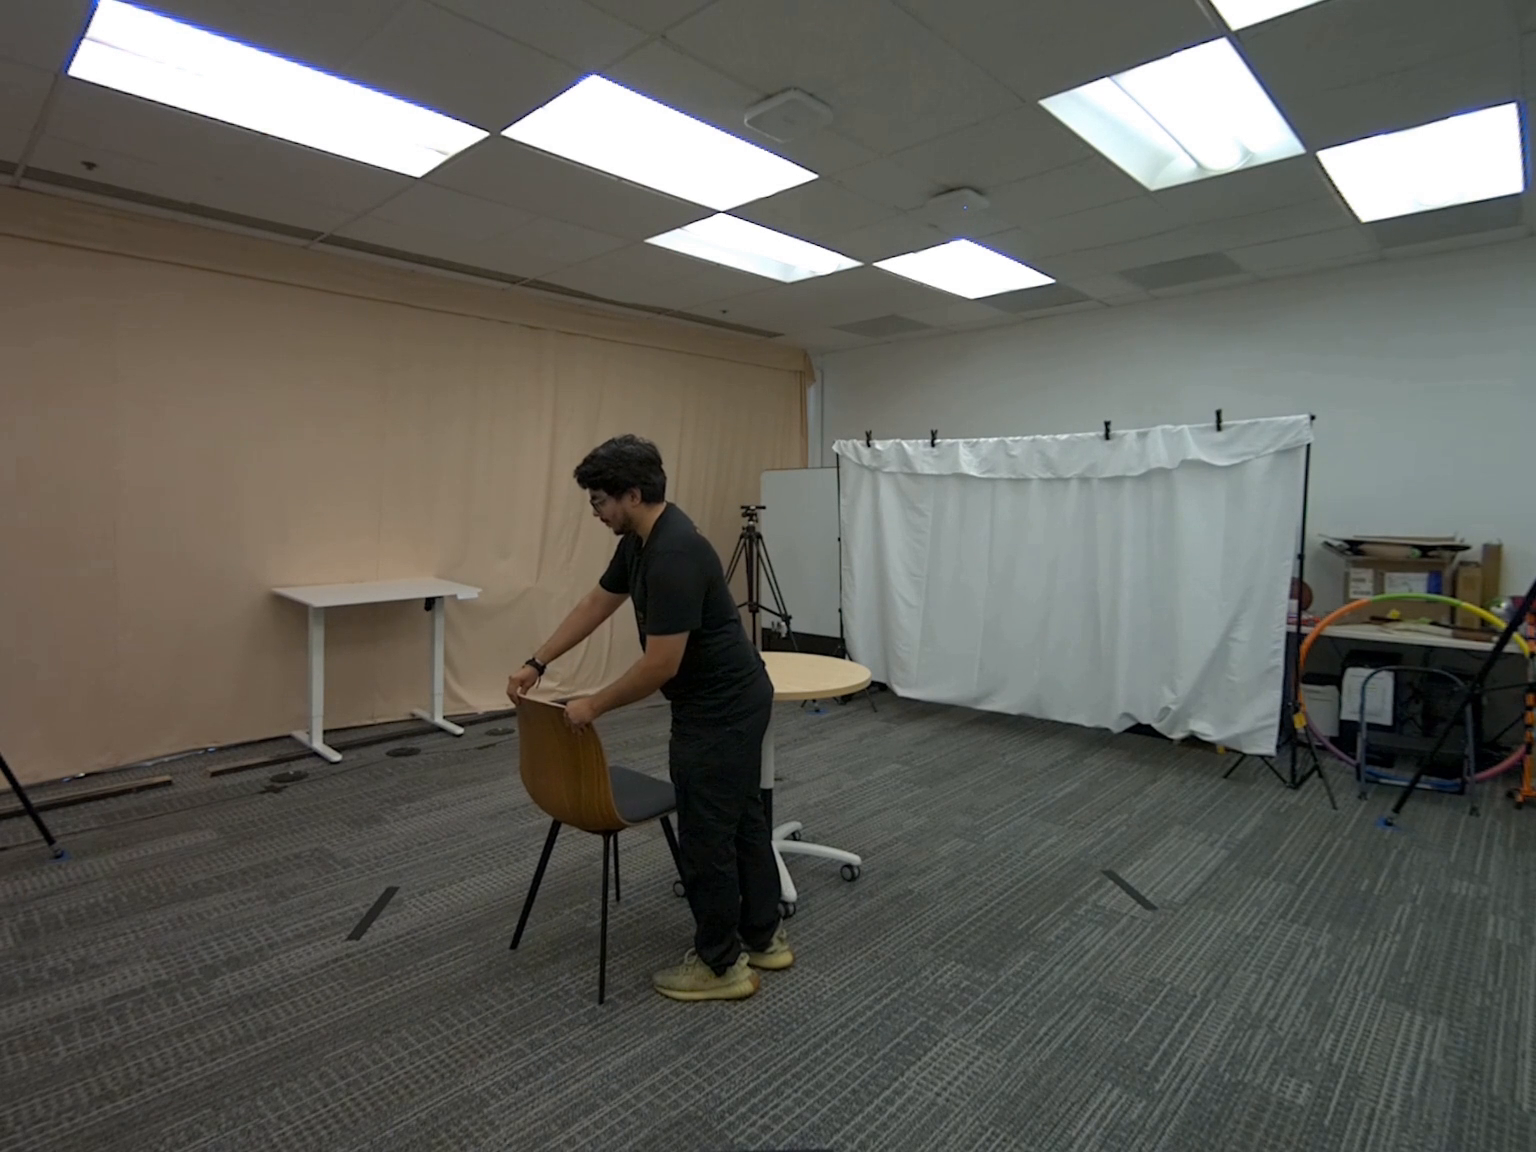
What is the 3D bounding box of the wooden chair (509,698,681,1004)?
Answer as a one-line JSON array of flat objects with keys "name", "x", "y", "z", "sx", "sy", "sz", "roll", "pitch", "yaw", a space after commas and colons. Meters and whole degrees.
[{"name": "wooden chair", "x": -0.500, "y": 0.746, "z": 2.644, "sx": 0.494, "sy": 0.873, "sz": 0.508, "roll": 2, "pitch": 8, "yaw": 41}]
